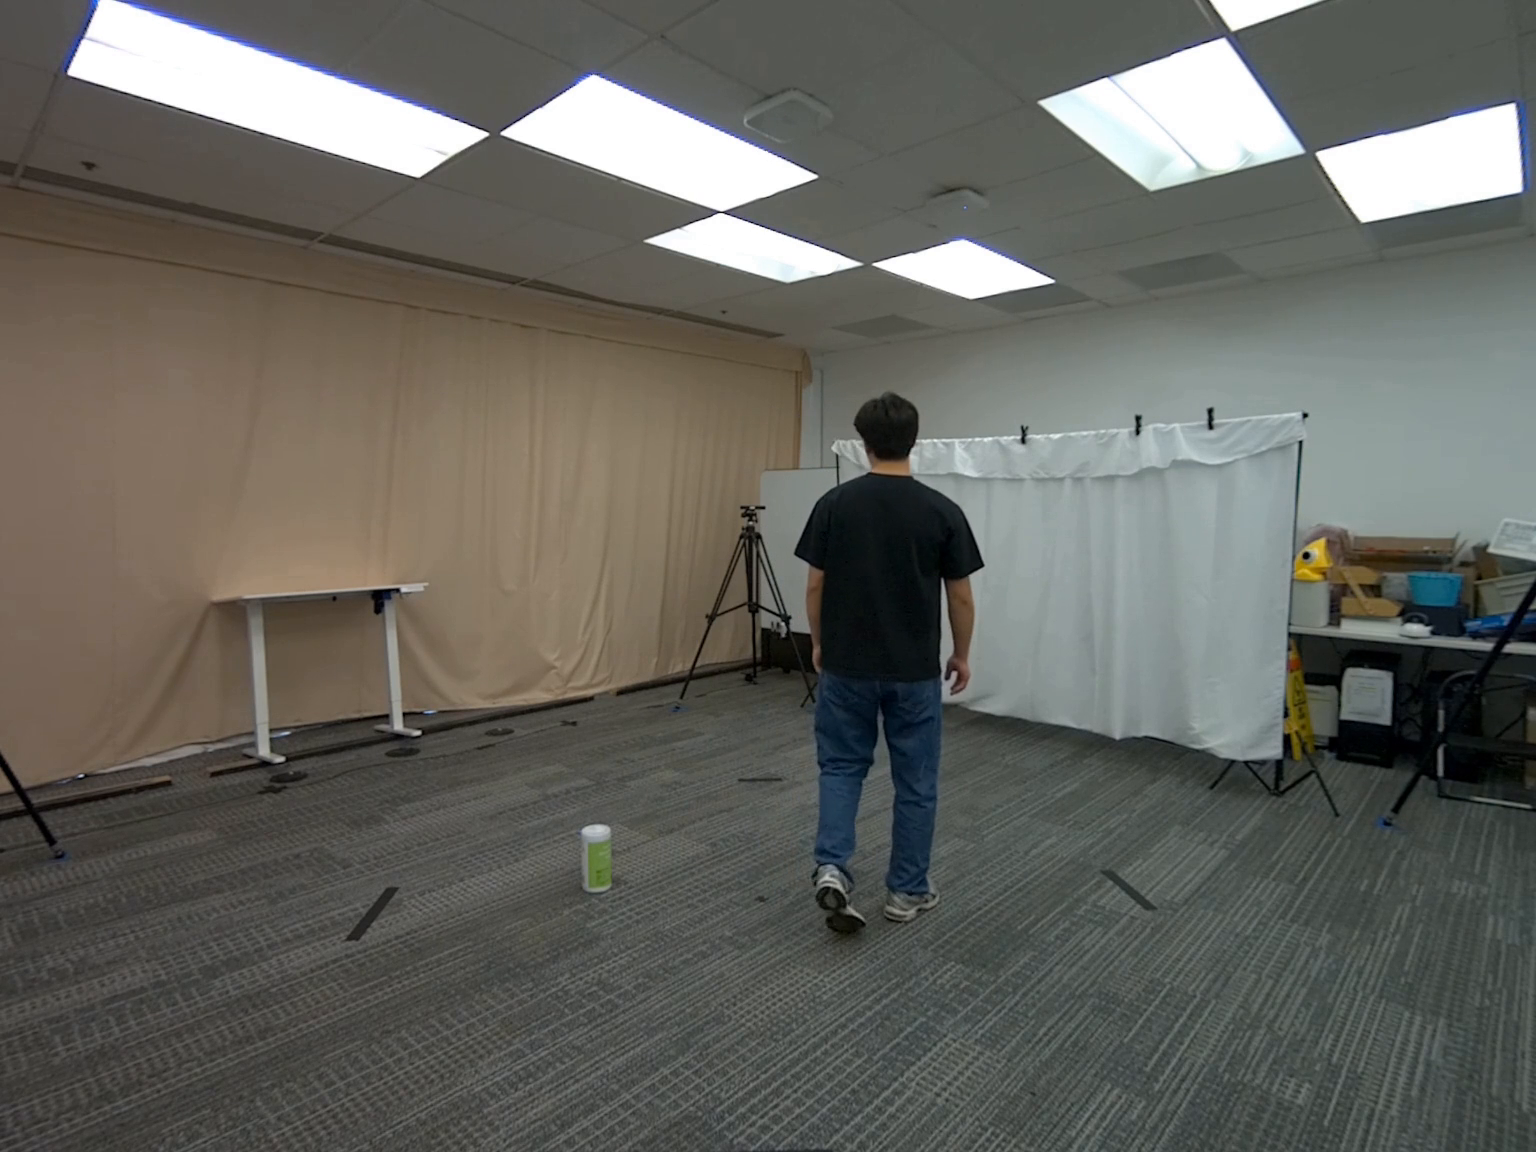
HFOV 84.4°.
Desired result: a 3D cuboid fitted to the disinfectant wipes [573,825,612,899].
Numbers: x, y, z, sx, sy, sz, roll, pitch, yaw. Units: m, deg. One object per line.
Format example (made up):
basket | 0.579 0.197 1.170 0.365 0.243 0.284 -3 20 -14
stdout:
disinfectant wipes | -0.638 1.036 3.077 0.118 0.217 0.118 0 2 -2
